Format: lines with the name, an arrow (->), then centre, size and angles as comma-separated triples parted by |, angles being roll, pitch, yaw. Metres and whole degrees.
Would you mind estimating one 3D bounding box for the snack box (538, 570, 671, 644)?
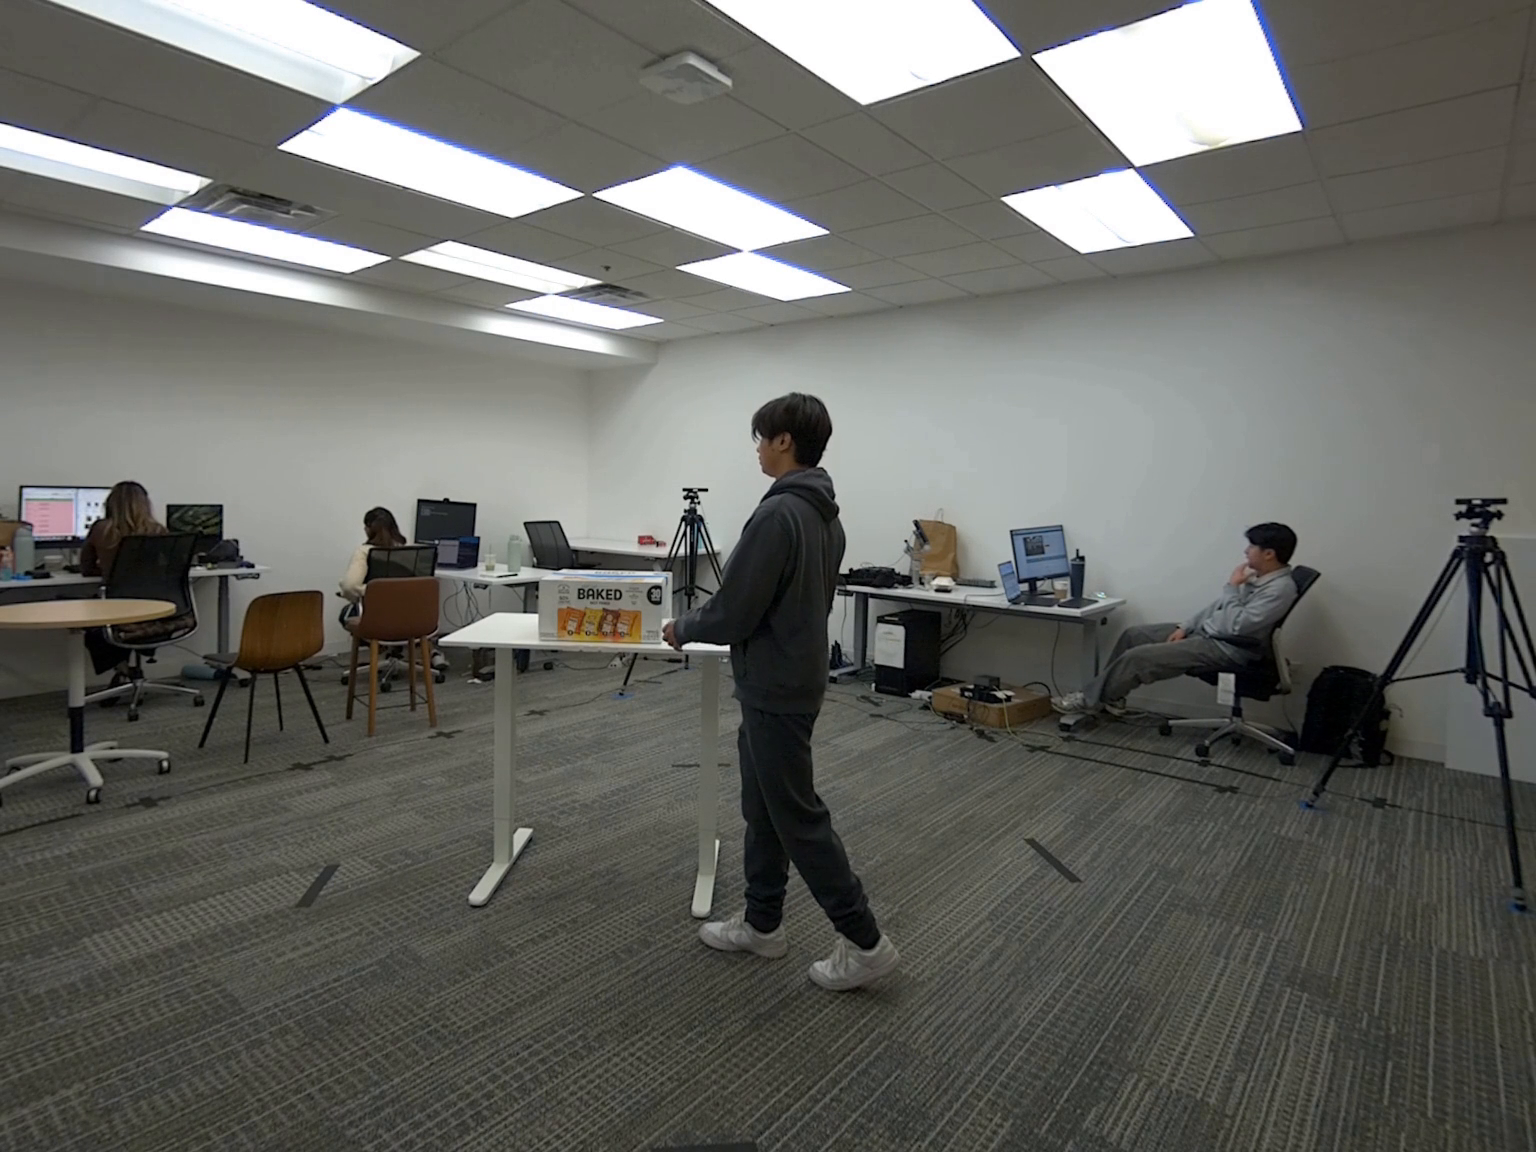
snack box -> -0.562, 0.097, 2.935 | 0.406, 0.205, 0.341 | 1, 6, 1
